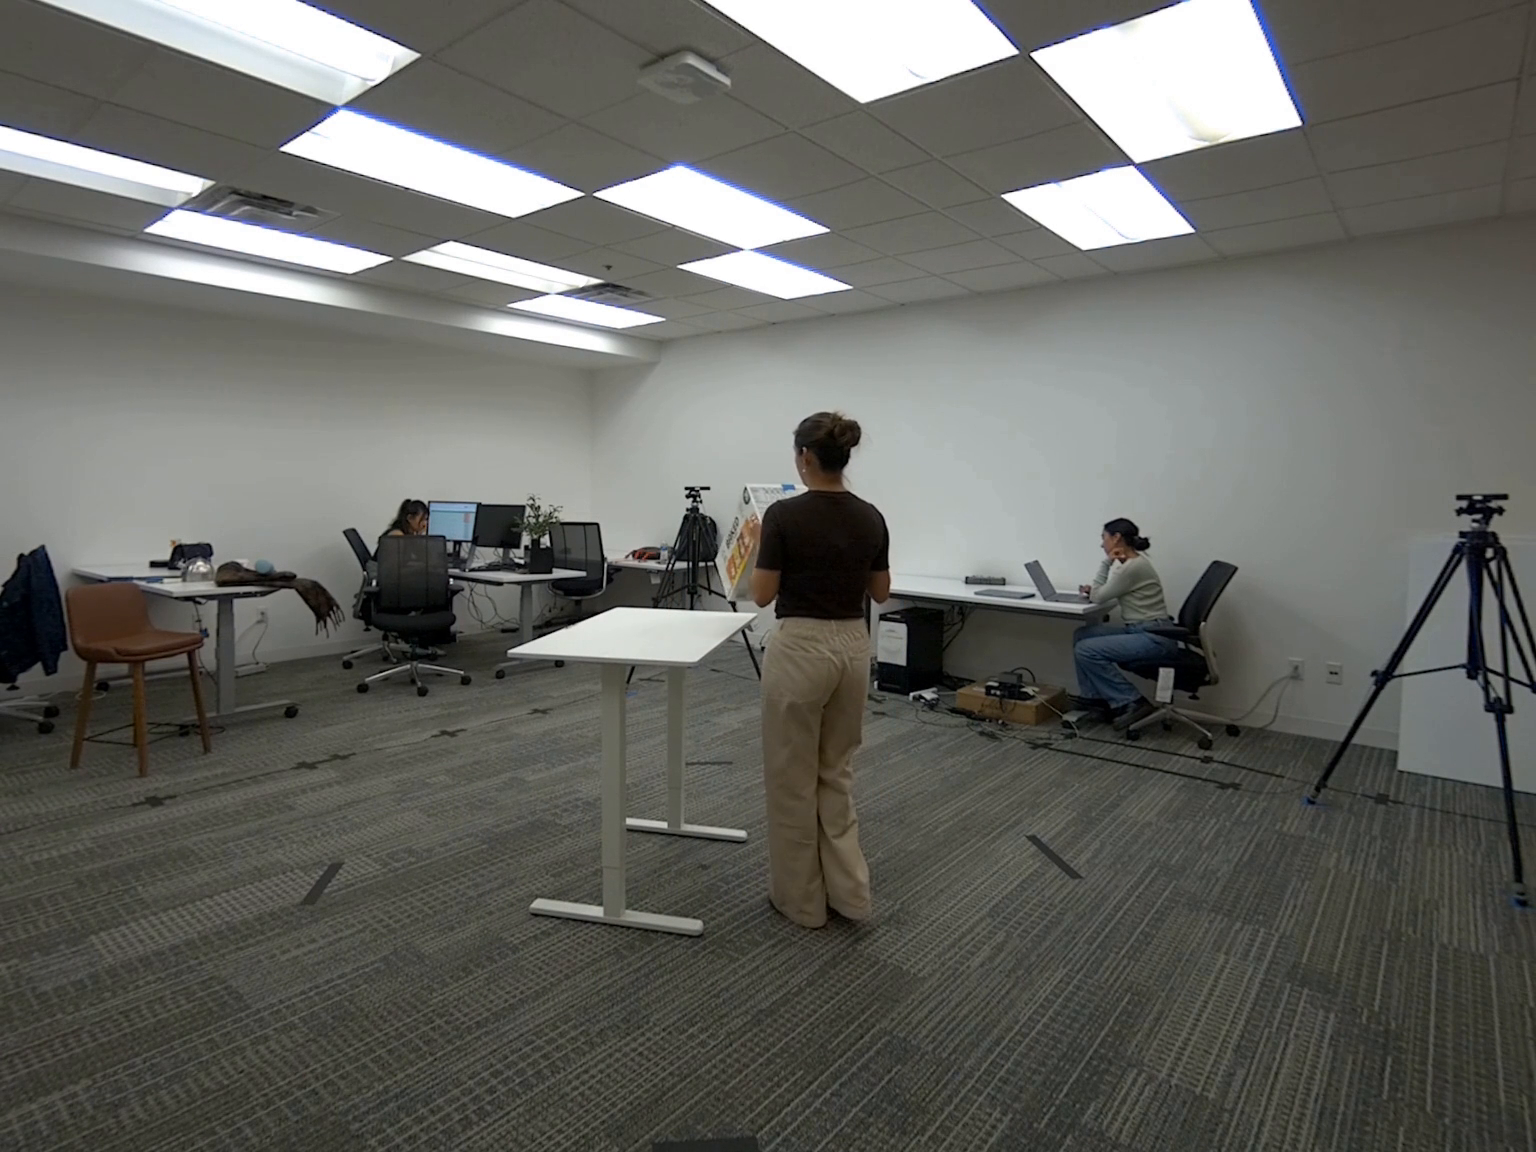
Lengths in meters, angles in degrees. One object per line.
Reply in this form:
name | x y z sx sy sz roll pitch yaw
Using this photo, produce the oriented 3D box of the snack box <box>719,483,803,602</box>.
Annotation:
snack box | 0.033 -0.117 3.070 0.333 0.213 0.399 0 -42 -23
